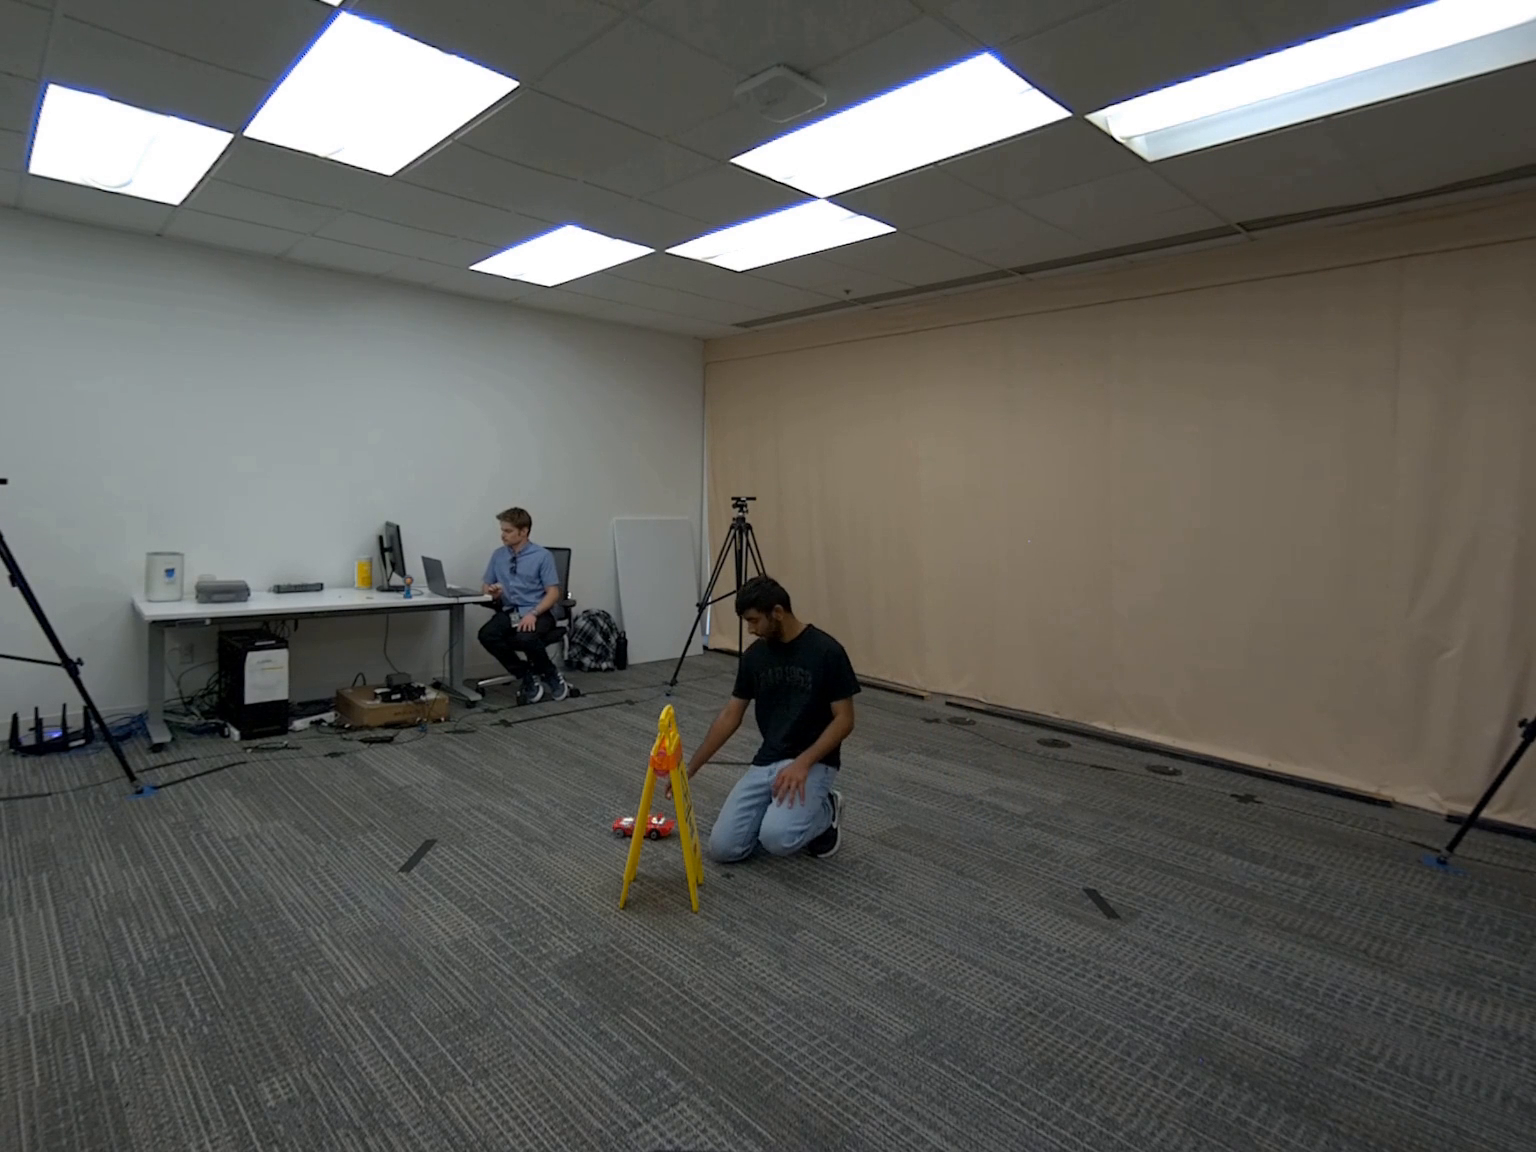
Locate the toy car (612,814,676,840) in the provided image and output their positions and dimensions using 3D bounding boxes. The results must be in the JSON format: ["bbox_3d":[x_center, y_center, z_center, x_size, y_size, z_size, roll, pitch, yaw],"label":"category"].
[{"bbox_3d":[-0.512,1.029,3.471,0.256,0.083,0.130,-9,4,6],"label":"toy car"}]
